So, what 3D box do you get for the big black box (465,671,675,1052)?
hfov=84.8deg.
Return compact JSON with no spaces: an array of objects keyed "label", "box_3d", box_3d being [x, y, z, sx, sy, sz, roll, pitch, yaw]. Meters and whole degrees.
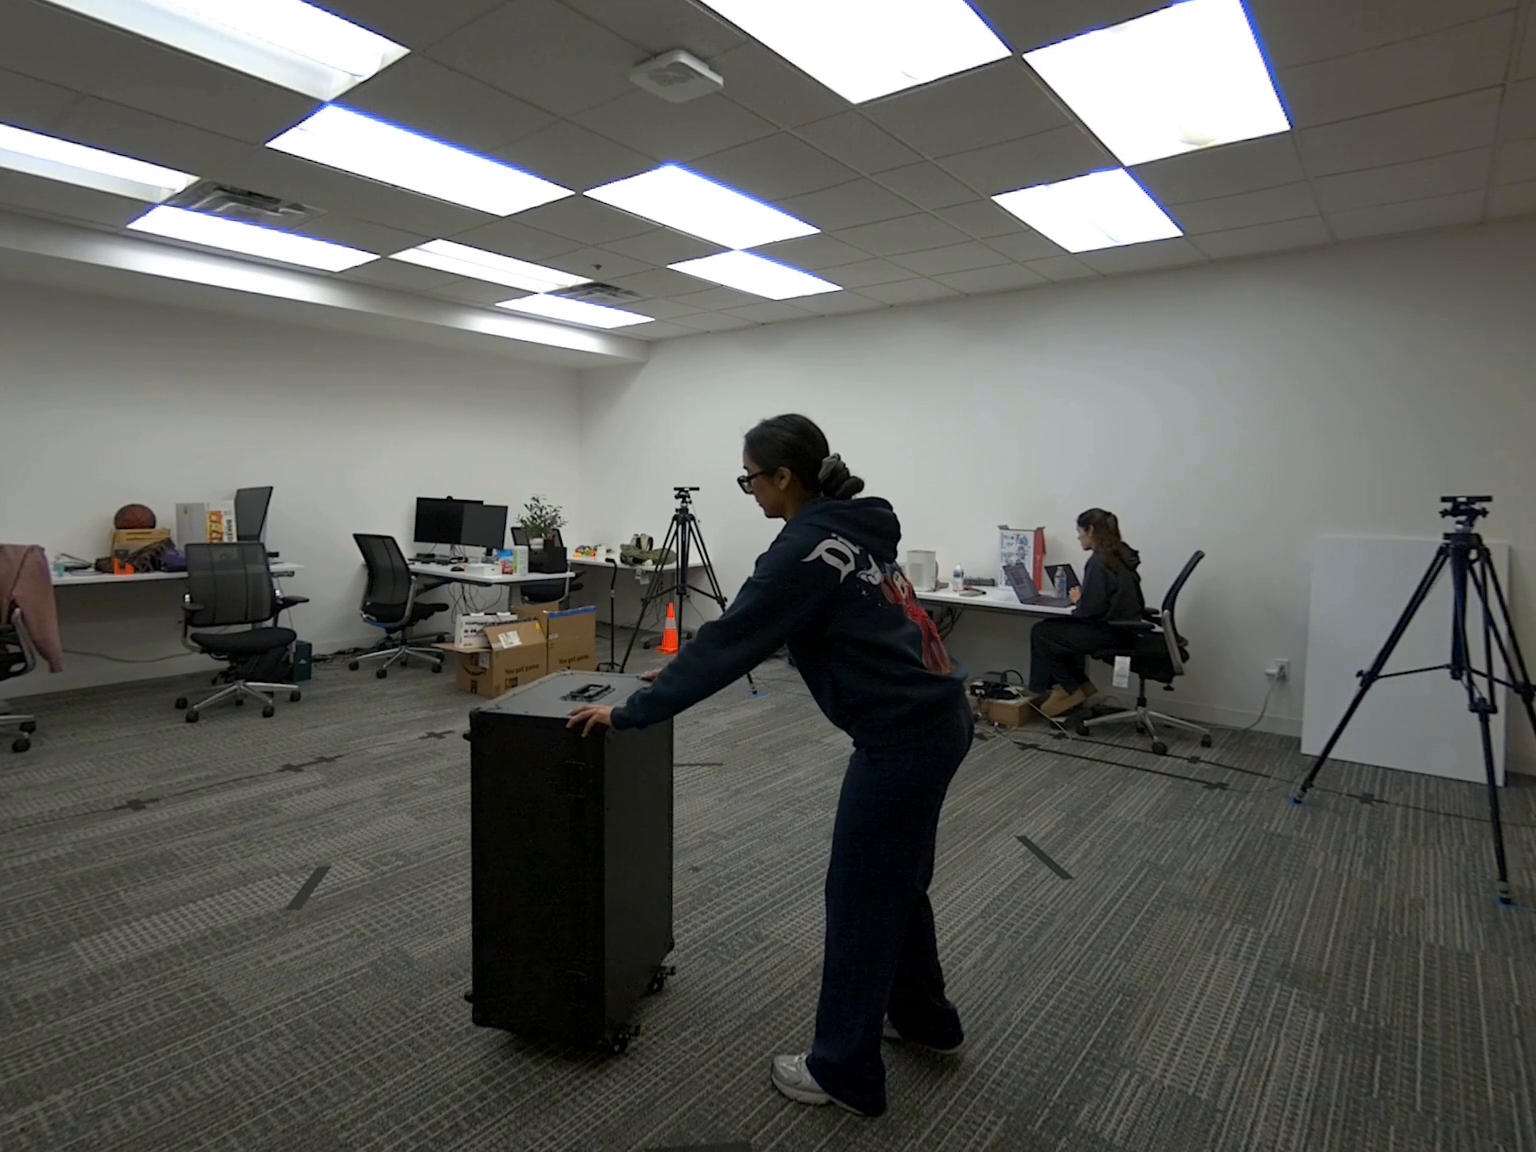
[{"label":"big black box","box_3d":[-0.511,0.725,2.235,0.403,0.859,0.514,0,3,15]}]
